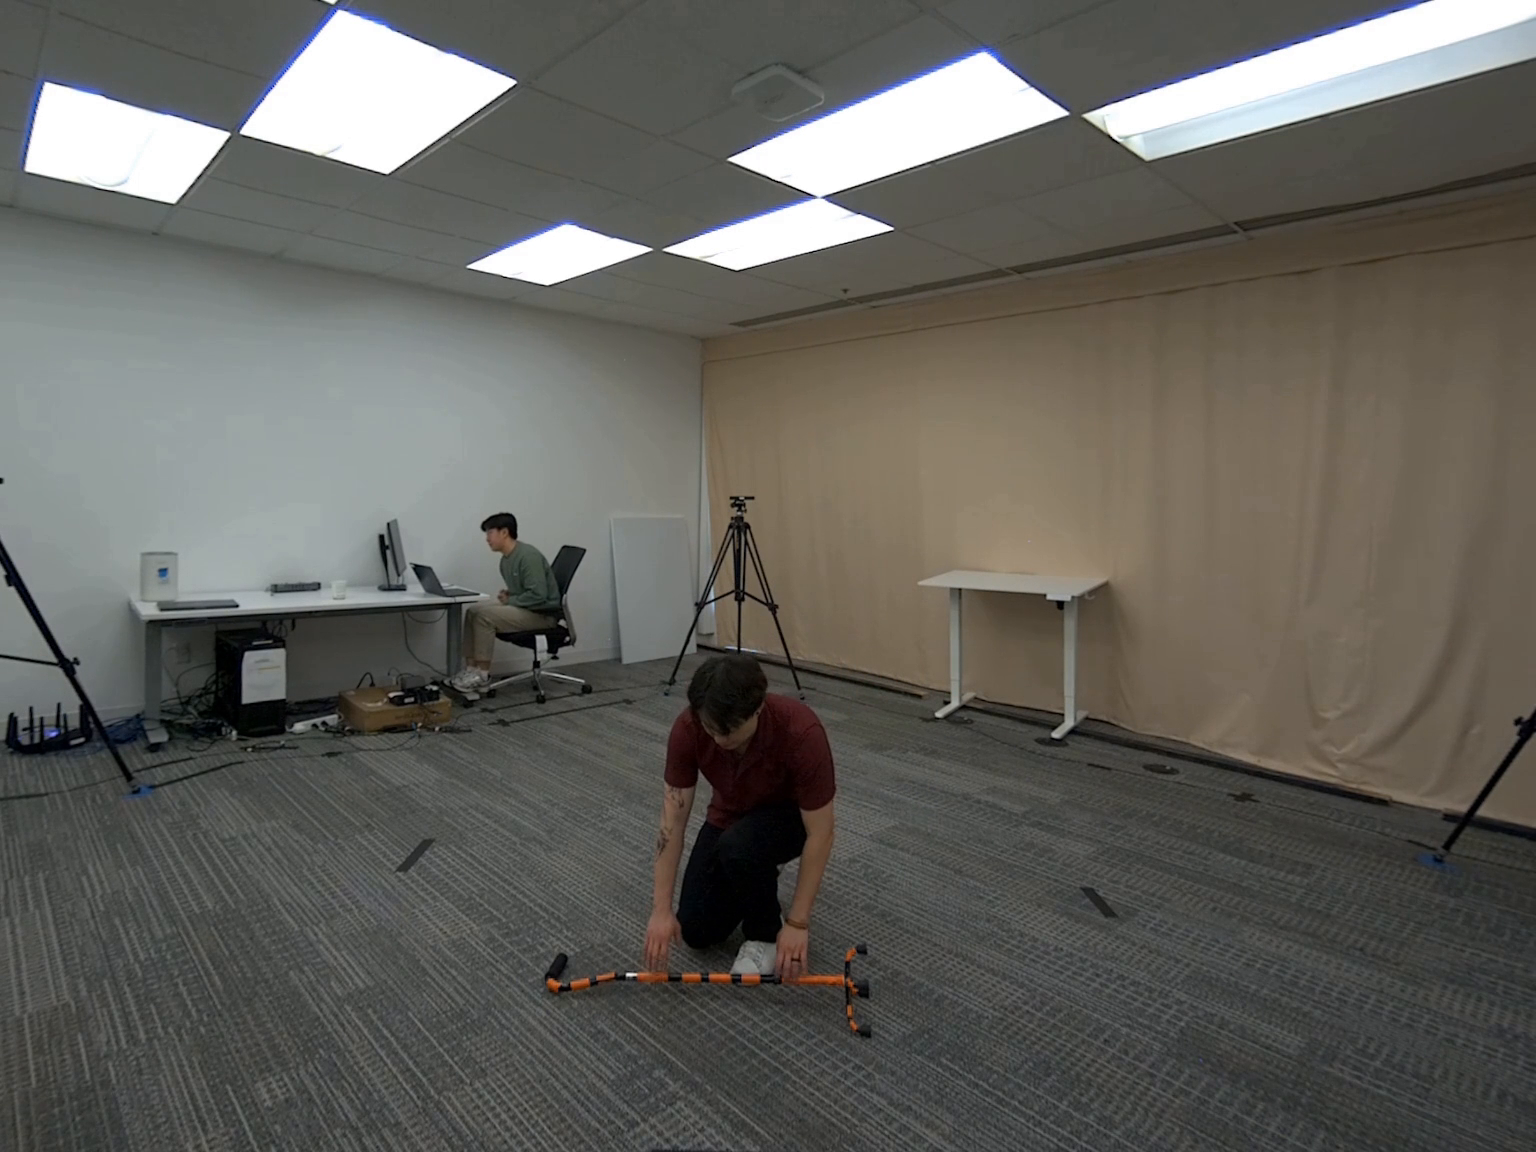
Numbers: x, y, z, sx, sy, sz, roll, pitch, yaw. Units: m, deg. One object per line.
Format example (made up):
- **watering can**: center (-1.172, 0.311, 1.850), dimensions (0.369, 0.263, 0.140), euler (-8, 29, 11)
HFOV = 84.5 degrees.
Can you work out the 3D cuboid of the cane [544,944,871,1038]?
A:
- **cane**: center (-0.183, 1.117, 2.325), dimensions (0.913, 0.151, 0.206), euler (-1, 5, 7)
